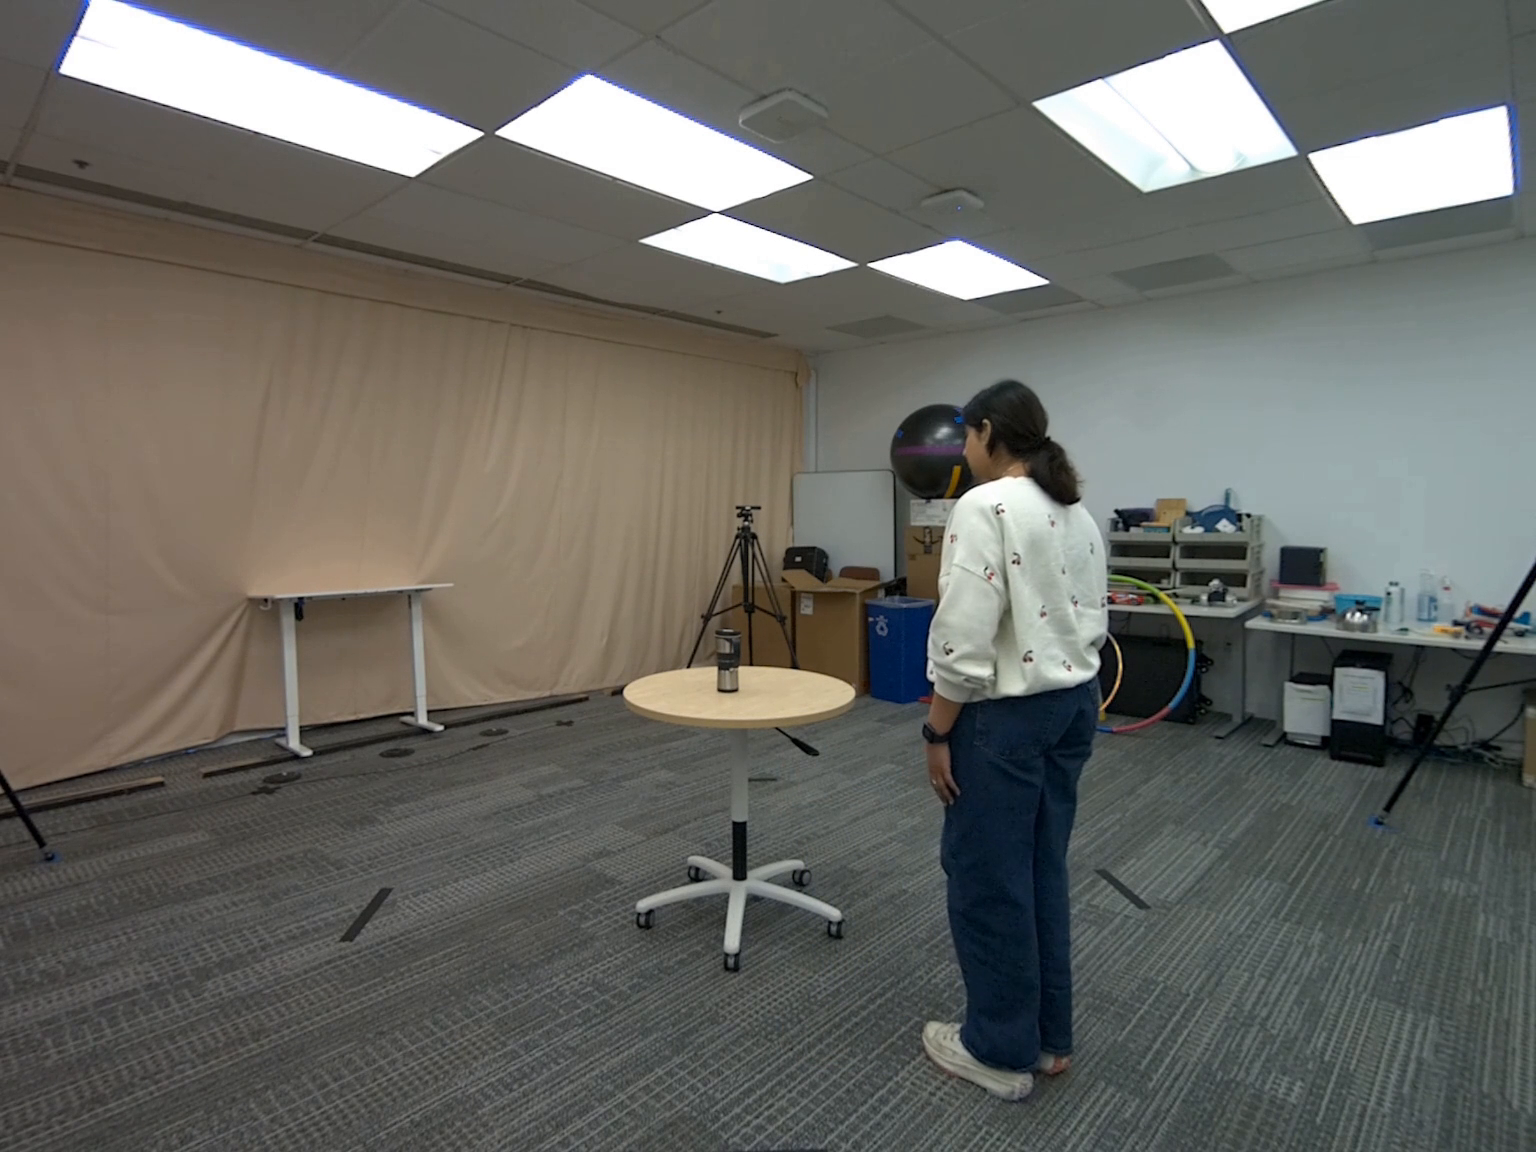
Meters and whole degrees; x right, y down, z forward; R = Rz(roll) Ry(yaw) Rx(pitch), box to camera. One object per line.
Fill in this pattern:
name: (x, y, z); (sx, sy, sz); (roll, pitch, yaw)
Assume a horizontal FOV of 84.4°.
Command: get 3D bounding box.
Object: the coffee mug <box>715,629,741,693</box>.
coffee mug: (-0.133, 0.282, 2.753); (0.089, 0.203, 0.120); (3, 1, 14)
